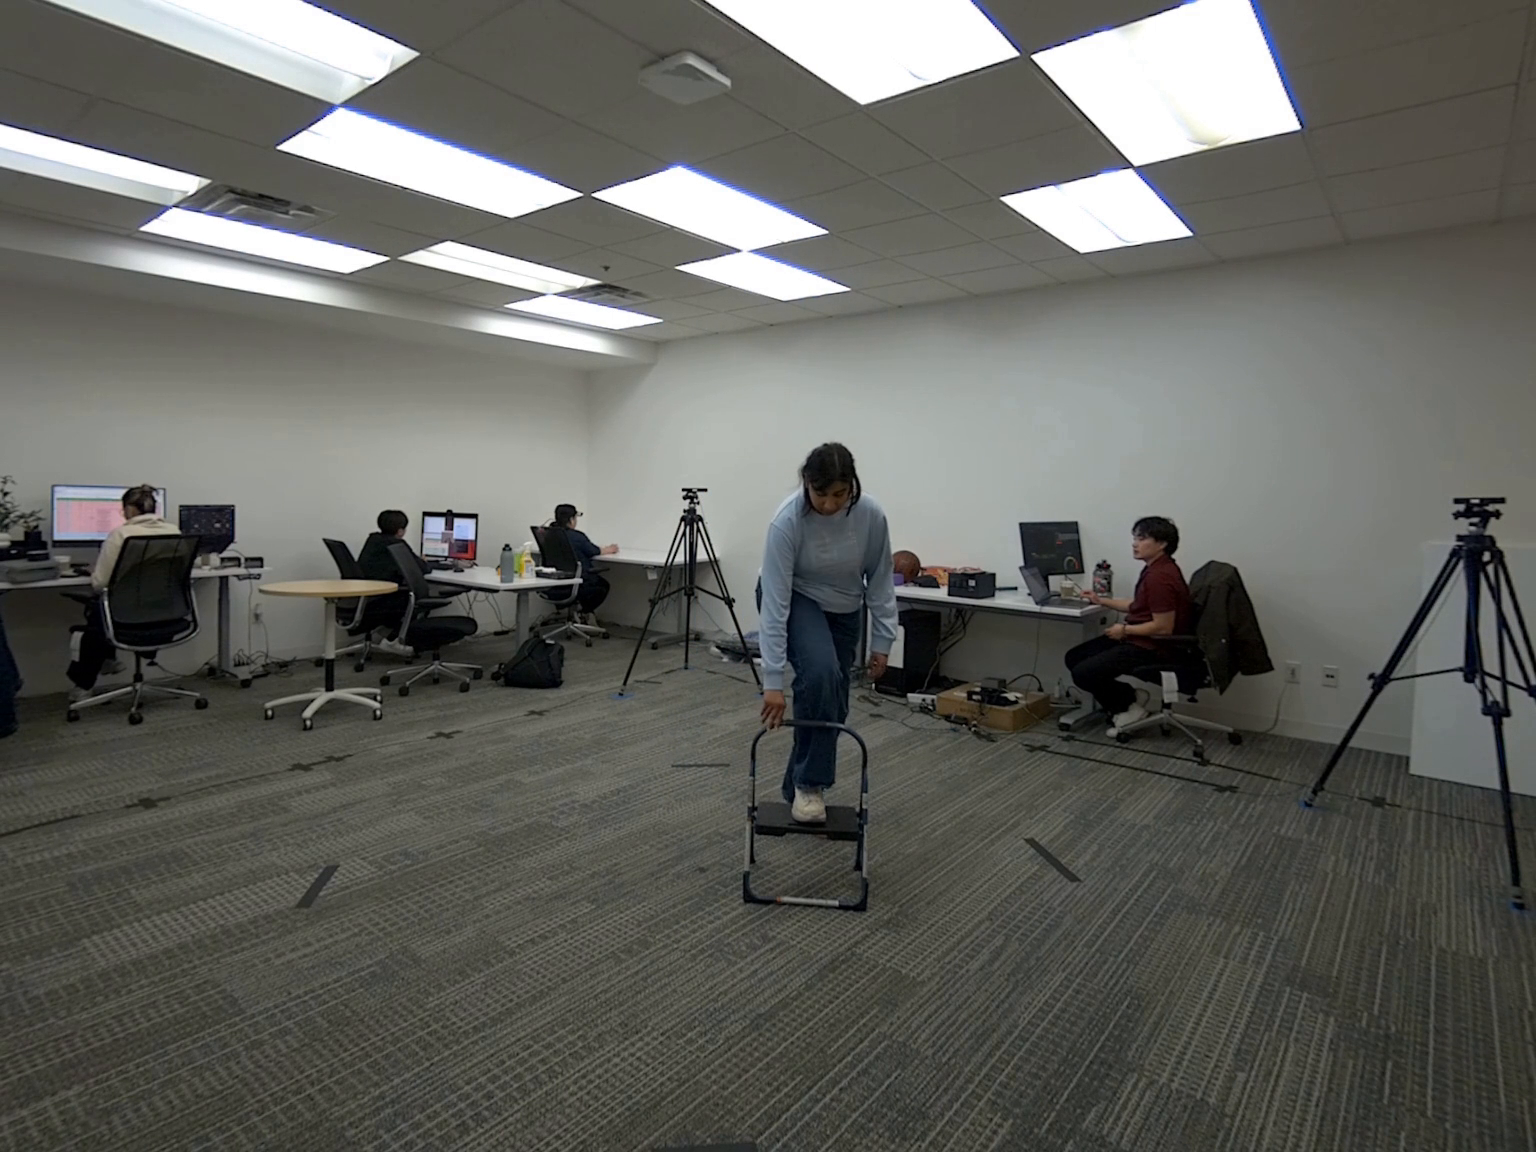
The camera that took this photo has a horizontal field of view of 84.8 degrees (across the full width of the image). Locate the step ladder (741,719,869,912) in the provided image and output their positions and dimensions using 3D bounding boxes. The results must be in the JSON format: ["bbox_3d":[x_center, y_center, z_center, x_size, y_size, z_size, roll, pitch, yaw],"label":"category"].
[{"bbox_3d":[0.124,0.788,2.992,0.433,0.604,0.348,1,4,4],"label":"step ladder"}]
